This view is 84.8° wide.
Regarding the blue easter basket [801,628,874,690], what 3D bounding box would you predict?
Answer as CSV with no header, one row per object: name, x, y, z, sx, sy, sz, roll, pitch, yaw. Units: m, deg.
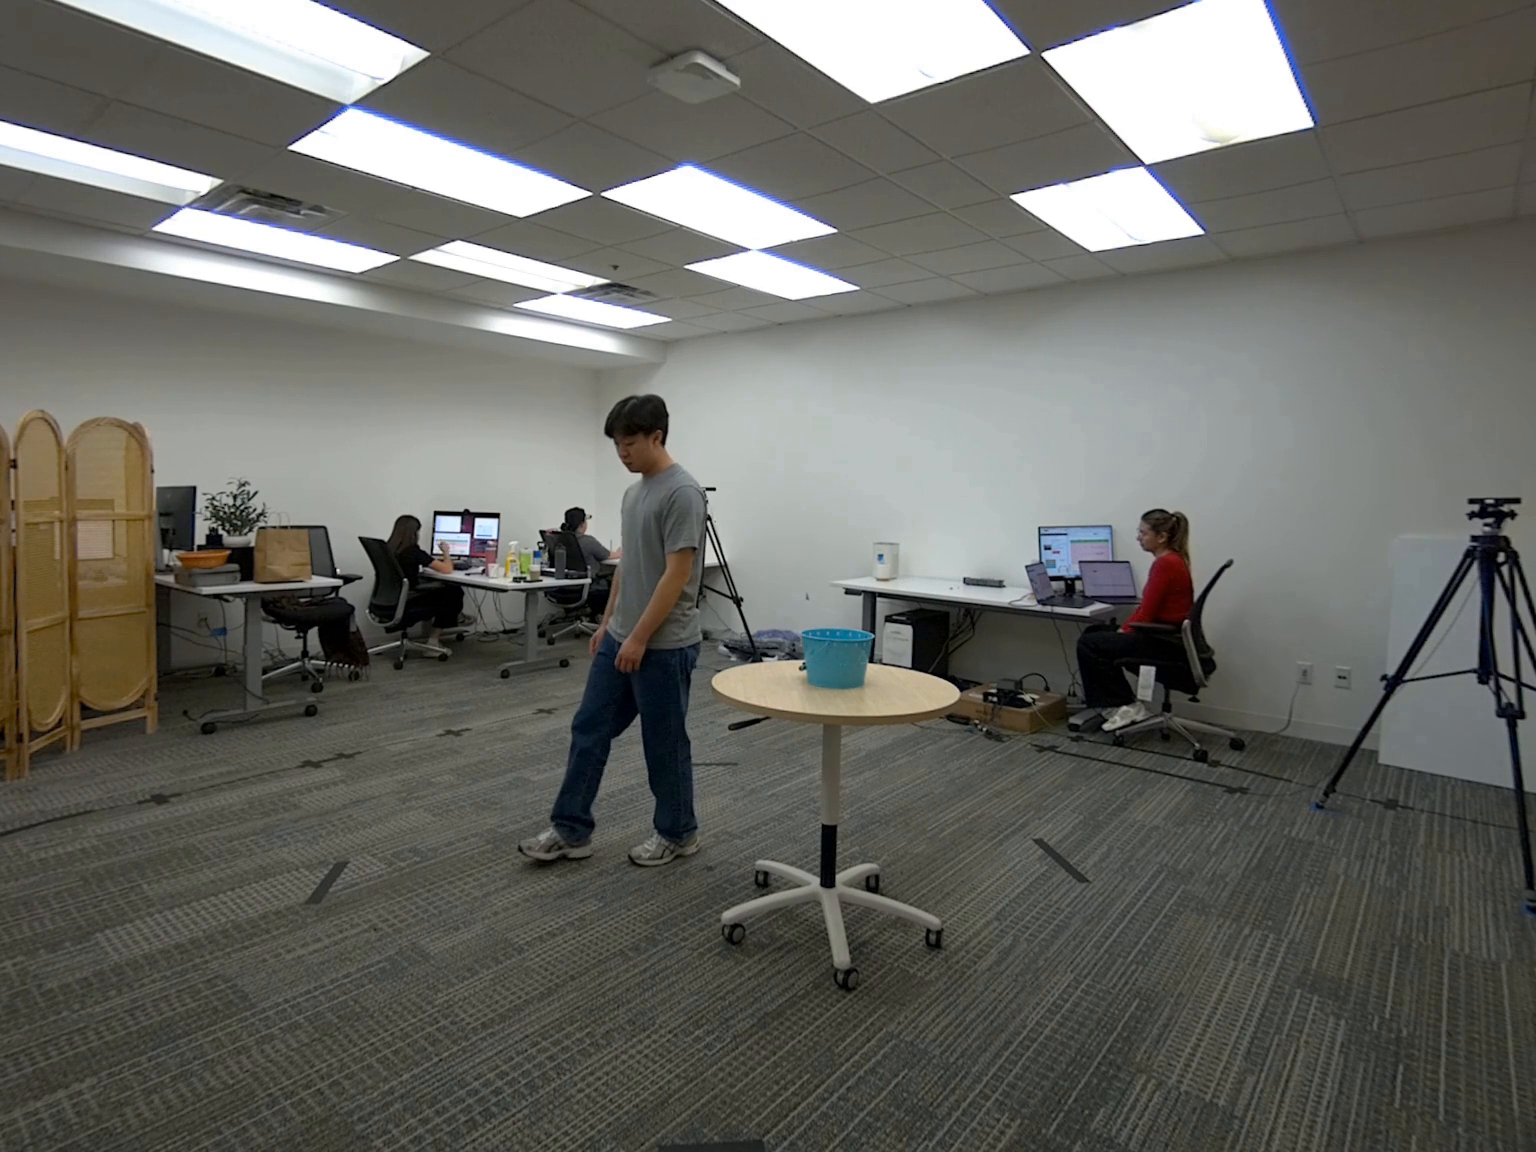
blue easter basket,0.213,0.259,2.696,0.243,0.155,0.245,2,5,-2
